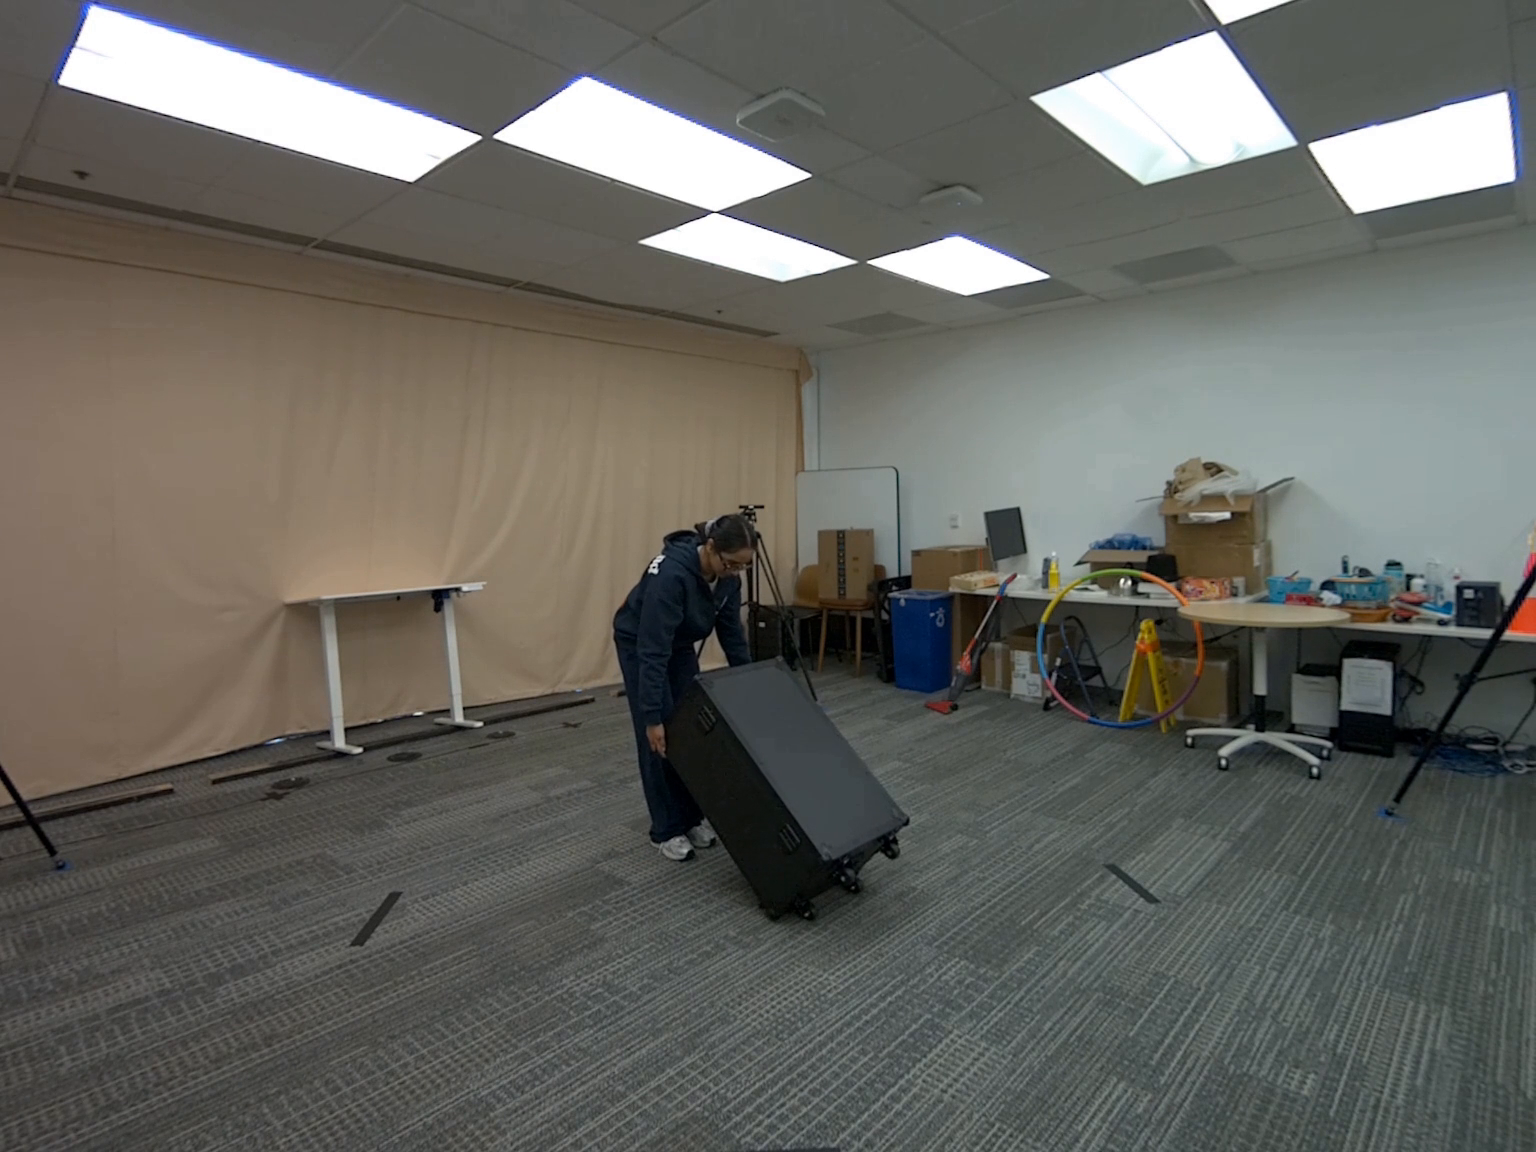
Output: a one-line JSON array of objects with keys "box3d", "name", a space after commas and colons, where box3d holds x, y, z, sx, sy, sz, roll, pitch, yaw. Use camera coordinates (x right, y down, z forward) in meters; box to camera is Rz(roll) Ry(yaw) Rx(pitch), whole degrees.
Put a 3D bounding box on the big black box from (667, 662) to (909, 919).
[{"box3d": [0.051, 0.766, 3.059, 0.505, 0.396, 0.887, -5, 46, -47], "name": "big black box"}]
